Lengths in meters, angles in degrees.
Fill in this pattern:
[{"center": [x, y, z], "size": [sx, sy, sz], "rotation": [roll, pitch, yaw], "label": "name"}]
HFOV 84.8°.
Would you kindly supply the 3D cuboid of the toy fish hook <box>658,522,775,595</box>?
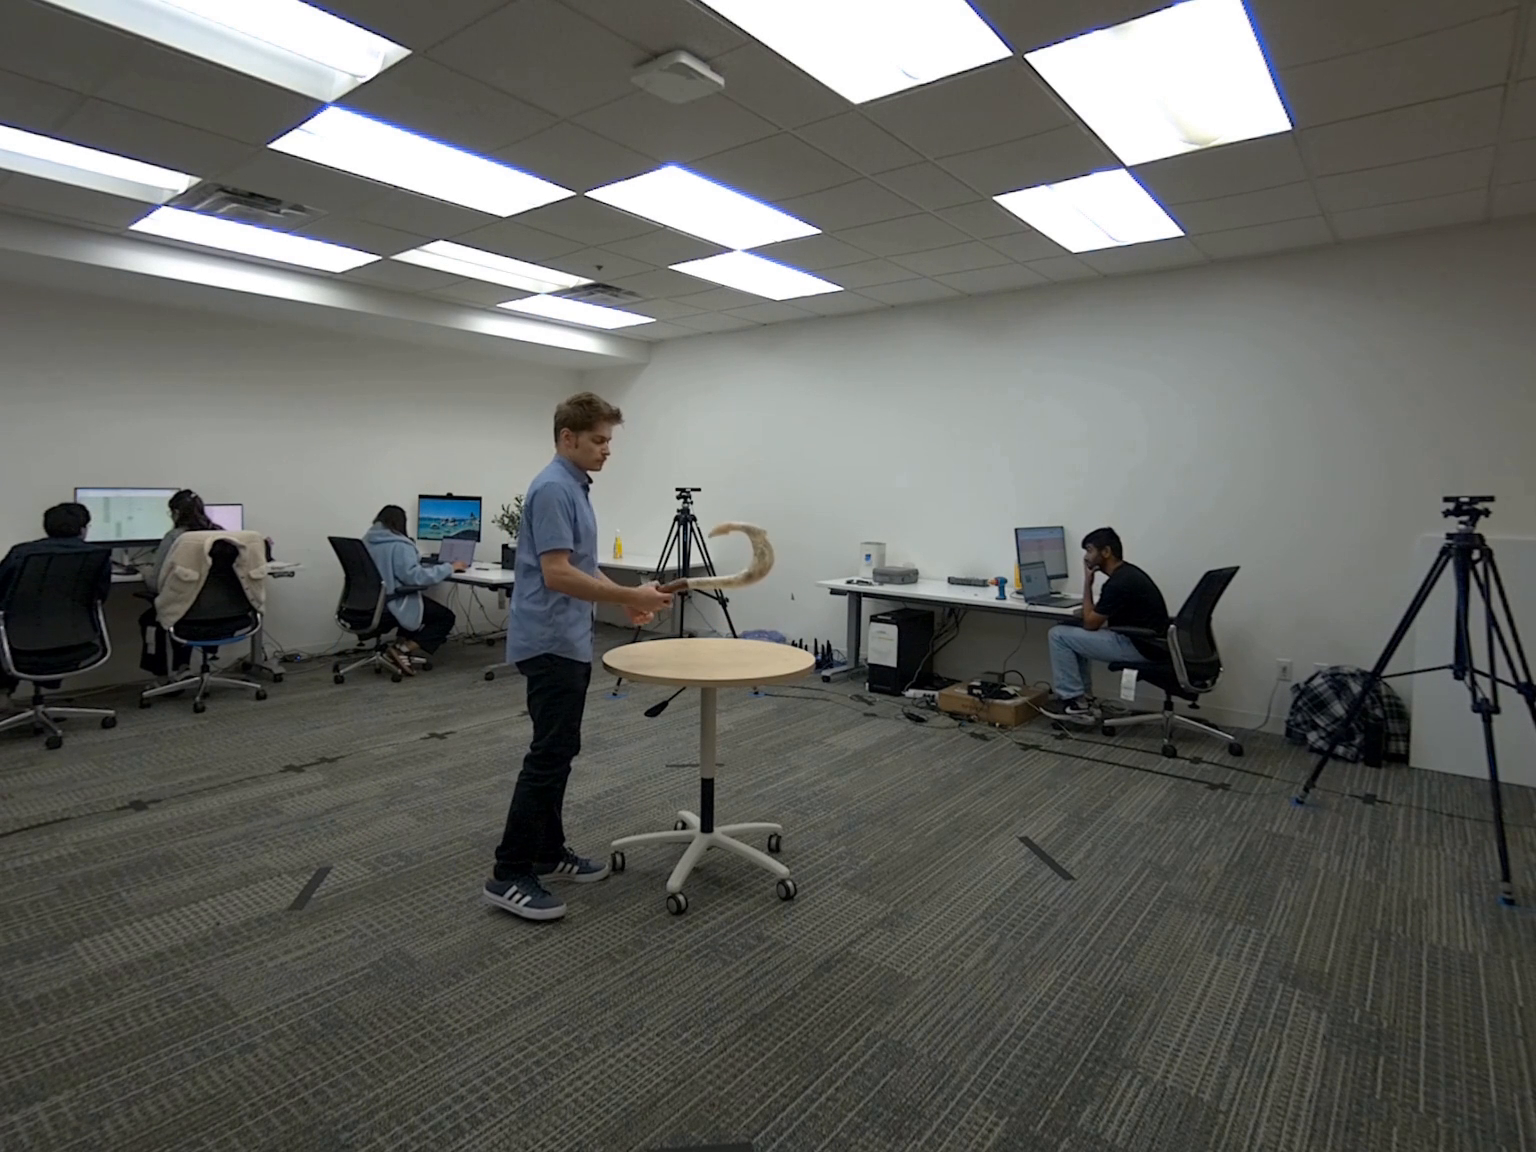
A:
[{"center": [-0.255, -0.024, 2.852], "size": [0.508, 0.228, 0.047], "rotation": [-18, -14, 4], "label": "toy fish hook"}]
